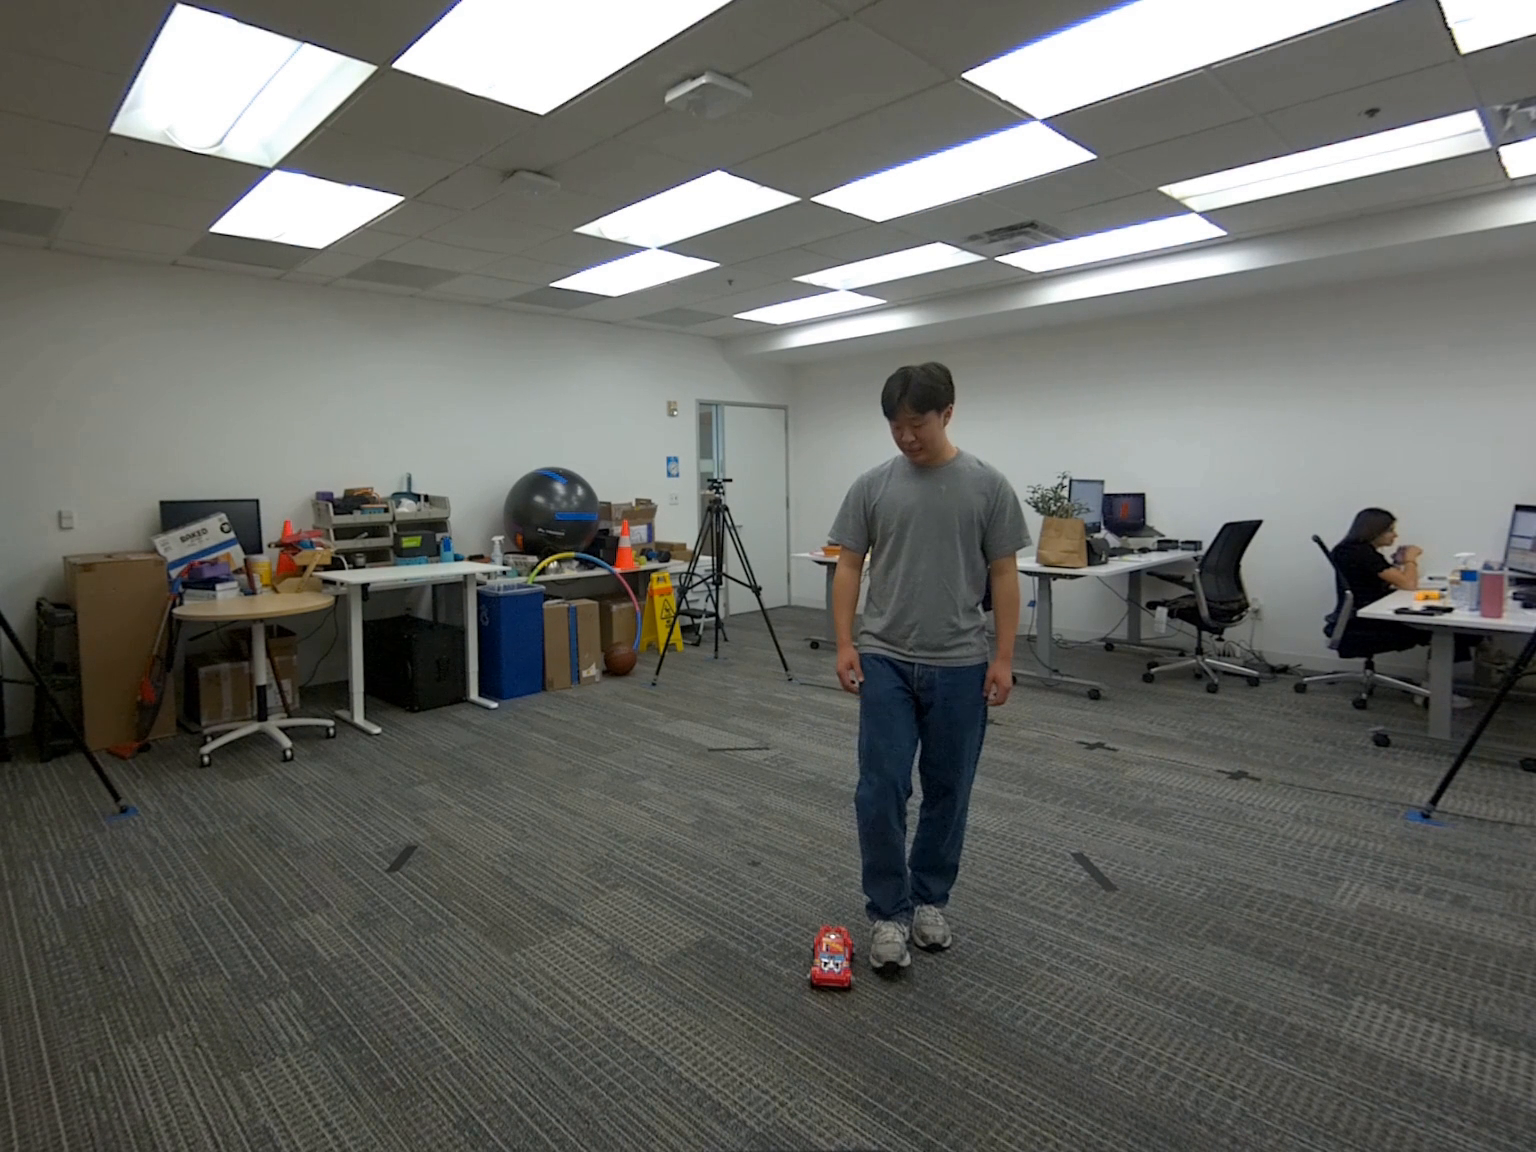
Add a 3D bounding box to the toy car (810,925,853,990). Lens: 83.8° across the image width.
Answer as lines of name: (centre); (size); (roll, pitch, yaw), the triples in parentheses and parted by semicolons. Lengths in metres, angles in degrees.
toy car: (0.191, 1.092, 2.430); (0.131, 0.082, 0.256); (-1, 17, 8)
